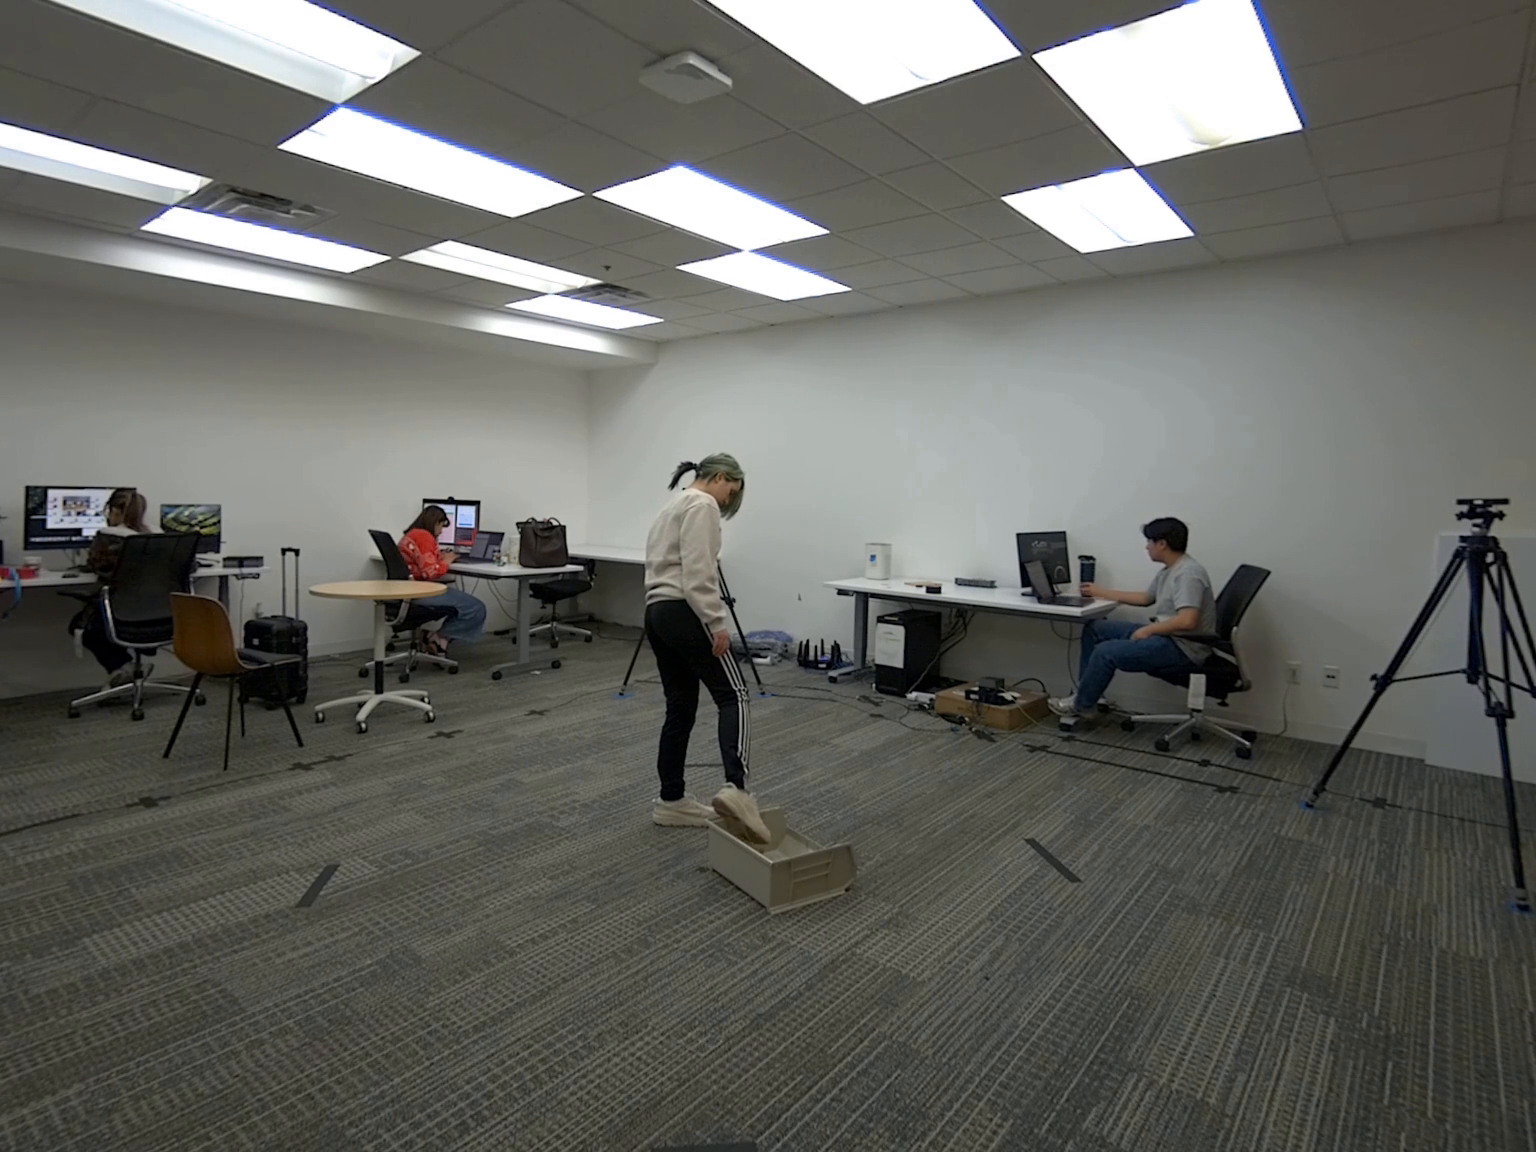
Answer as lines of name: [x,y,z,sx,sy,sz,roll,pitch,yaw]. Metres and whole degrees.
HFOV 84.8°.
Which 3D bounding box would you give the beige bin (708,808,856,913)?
beige bin: [0.033,0.989,3.041,0.367,0.188,0.436,-4,8,-34]
